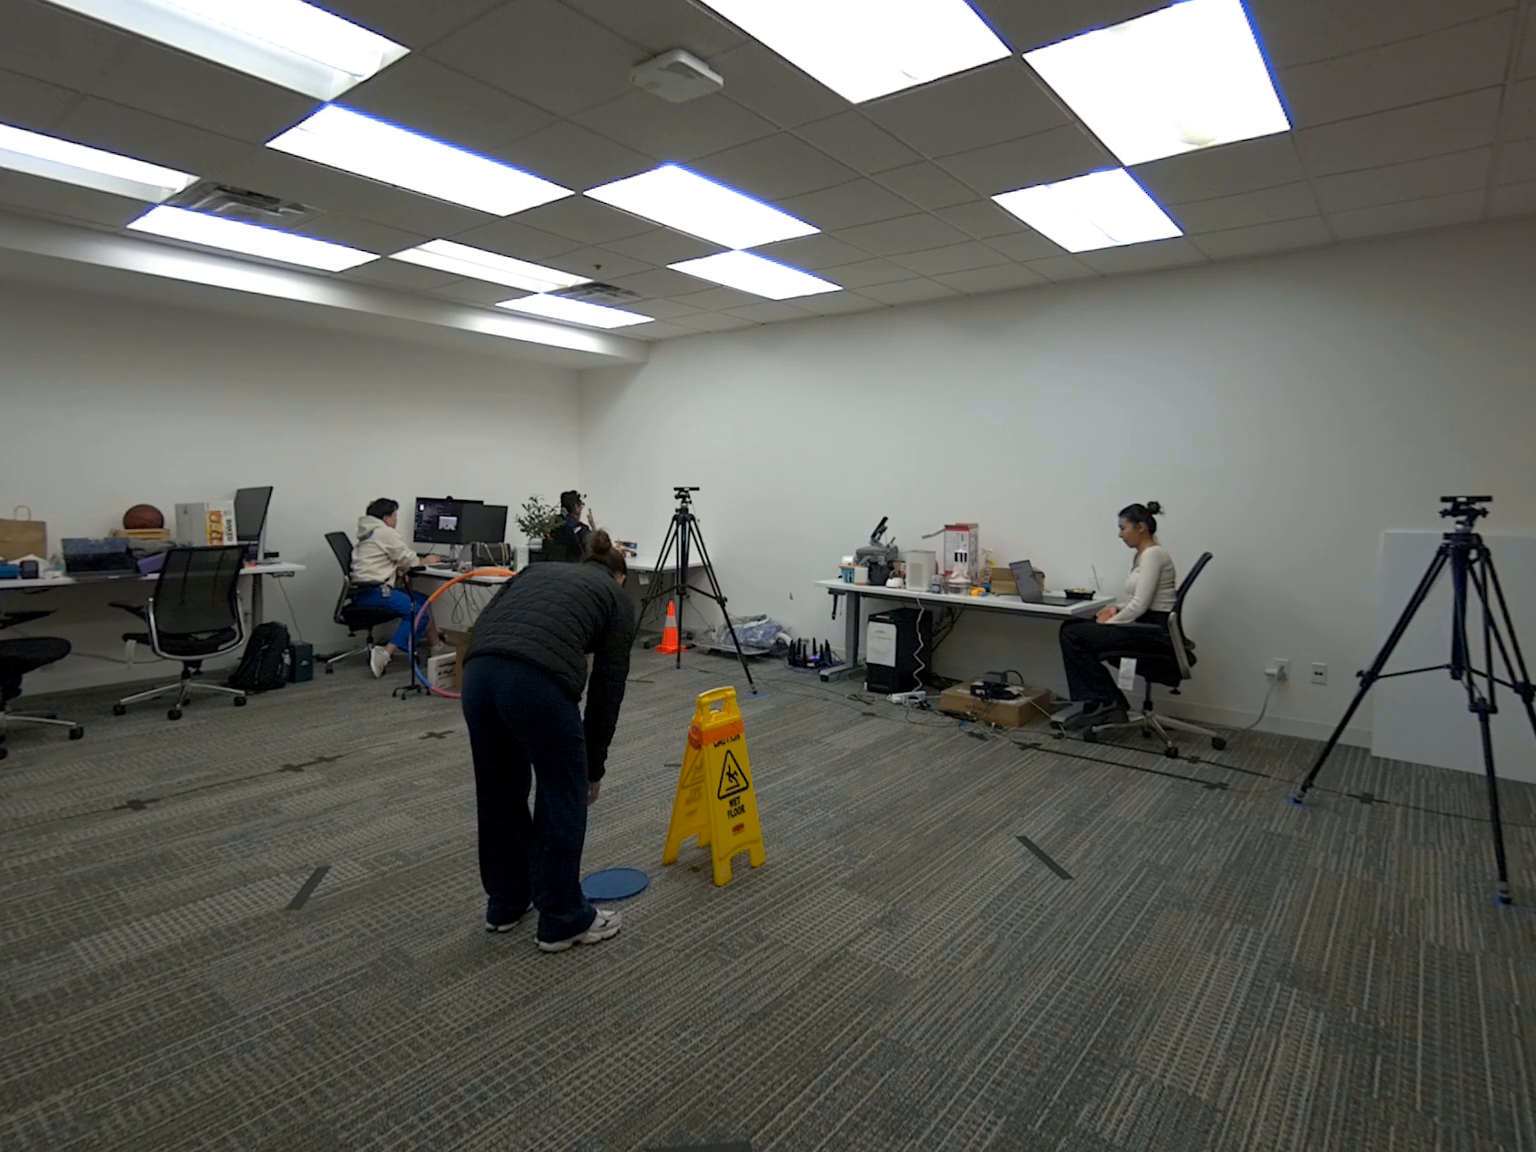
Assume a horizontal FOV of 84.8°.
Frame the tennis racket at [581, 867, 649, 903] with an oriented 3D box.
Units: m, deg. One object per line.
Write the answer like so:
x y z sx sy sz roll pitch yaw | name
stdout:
-0.565 1.063 2.915 0.221 0.032 0.420 3 5 39 | tennis racket
